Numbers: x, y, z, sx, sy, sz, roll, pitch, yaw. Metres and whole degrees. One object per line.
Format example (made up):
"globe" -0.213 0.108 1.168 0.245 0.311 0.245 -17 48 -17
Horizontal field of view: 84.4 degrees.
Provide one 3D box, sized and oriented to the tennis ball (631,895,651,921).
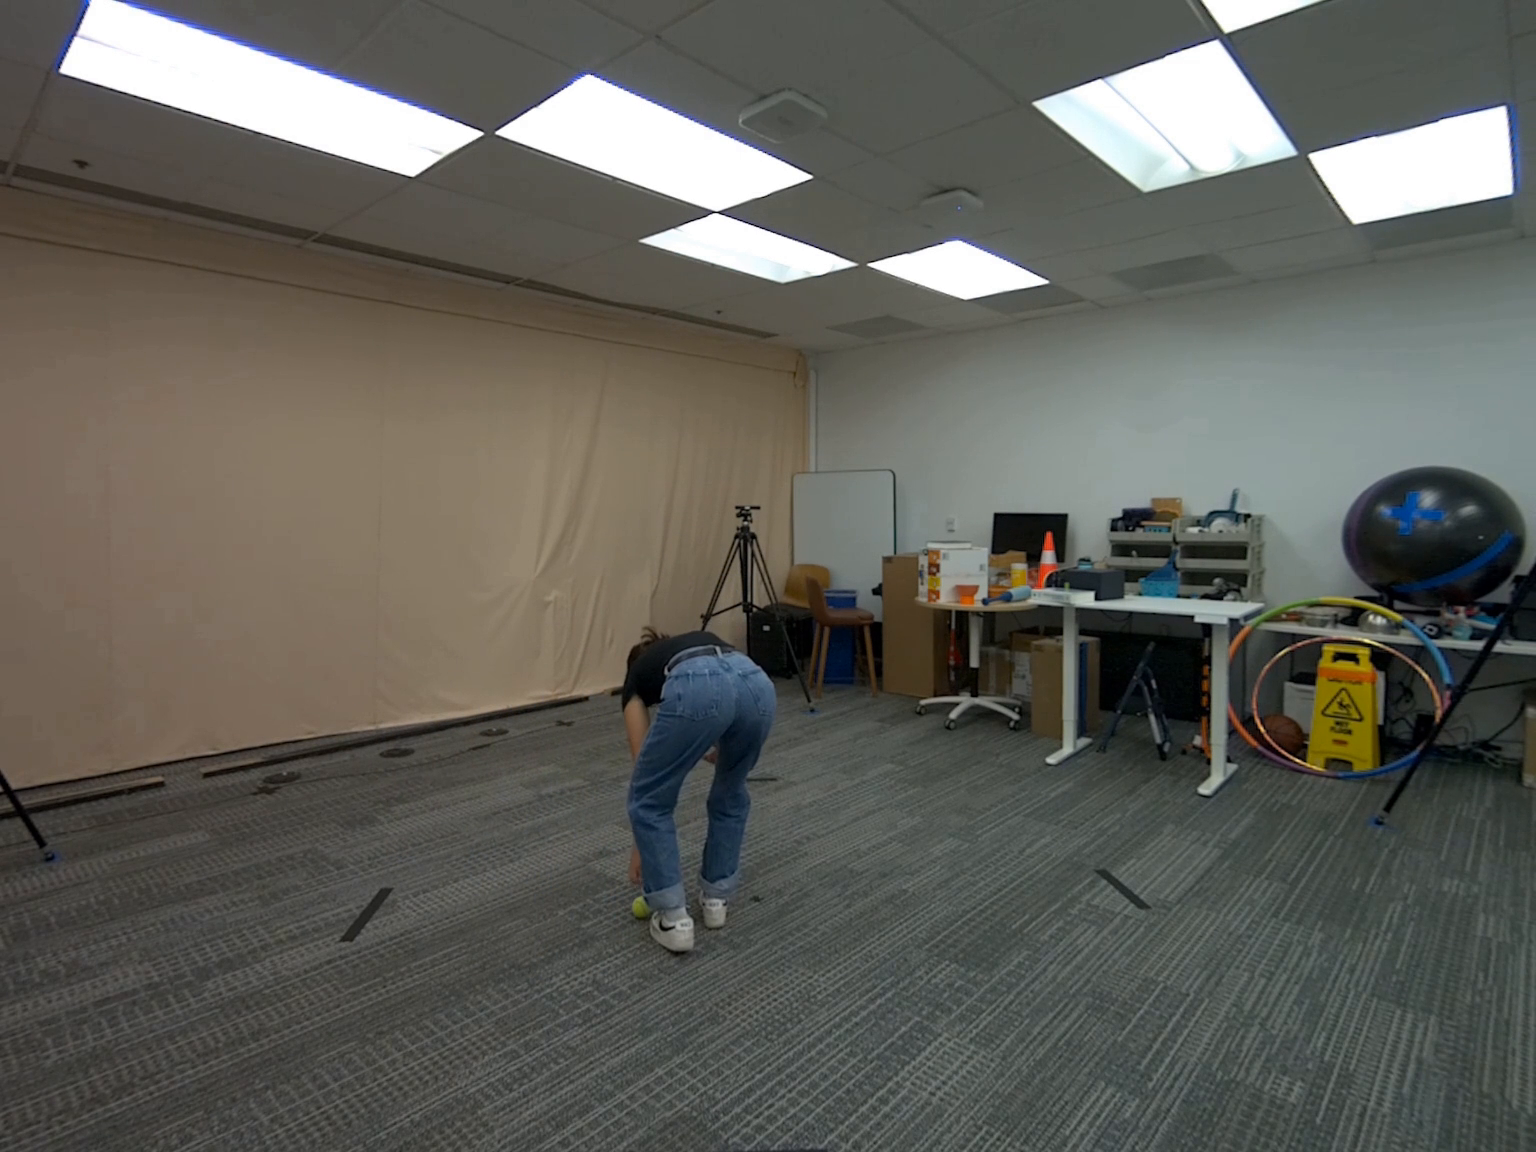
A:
"tennis ball" -0.422 1.121 2.849 0.066 0.066 0.067 0 4 -2
